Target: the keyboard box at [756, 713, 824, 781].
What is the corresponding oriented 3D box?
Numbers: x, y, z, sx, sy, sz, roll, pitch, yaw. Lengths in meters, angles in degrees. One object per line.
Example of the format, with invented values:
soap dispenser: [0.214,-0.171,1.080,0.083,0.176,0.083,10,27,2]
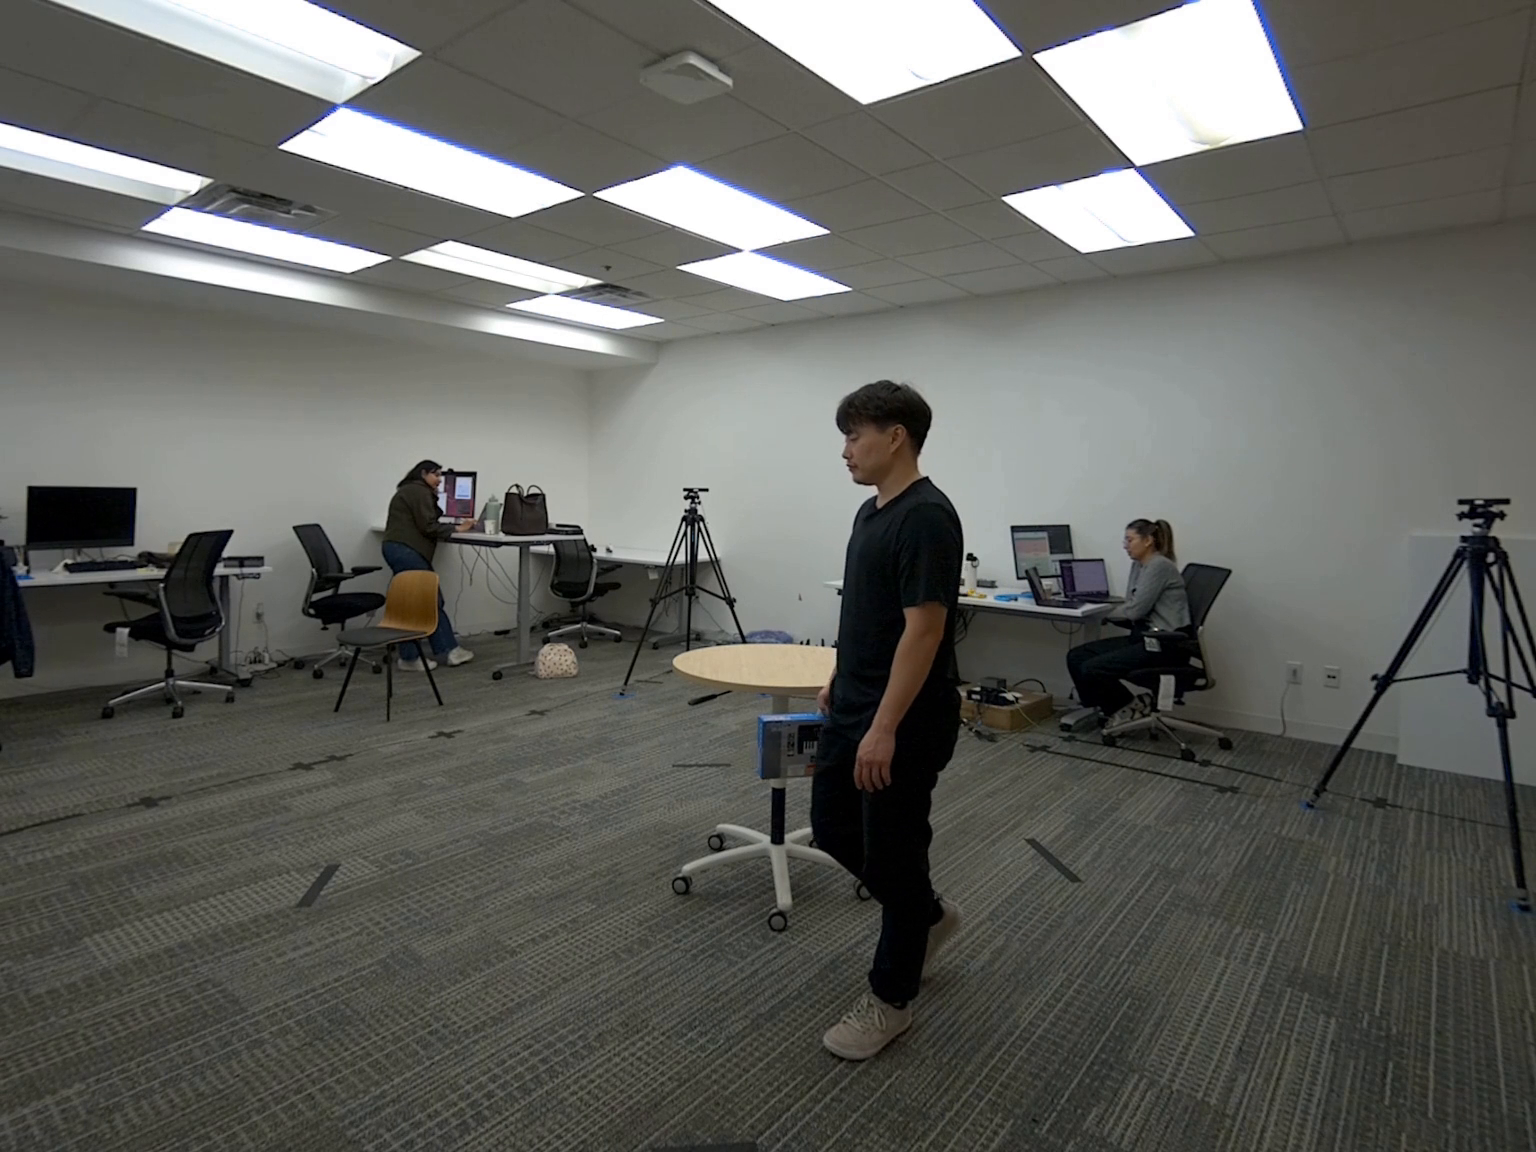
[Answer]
keyboard box: [0.181,0.482,2.475,0.430,0.175,0.060,0,5,-14]
